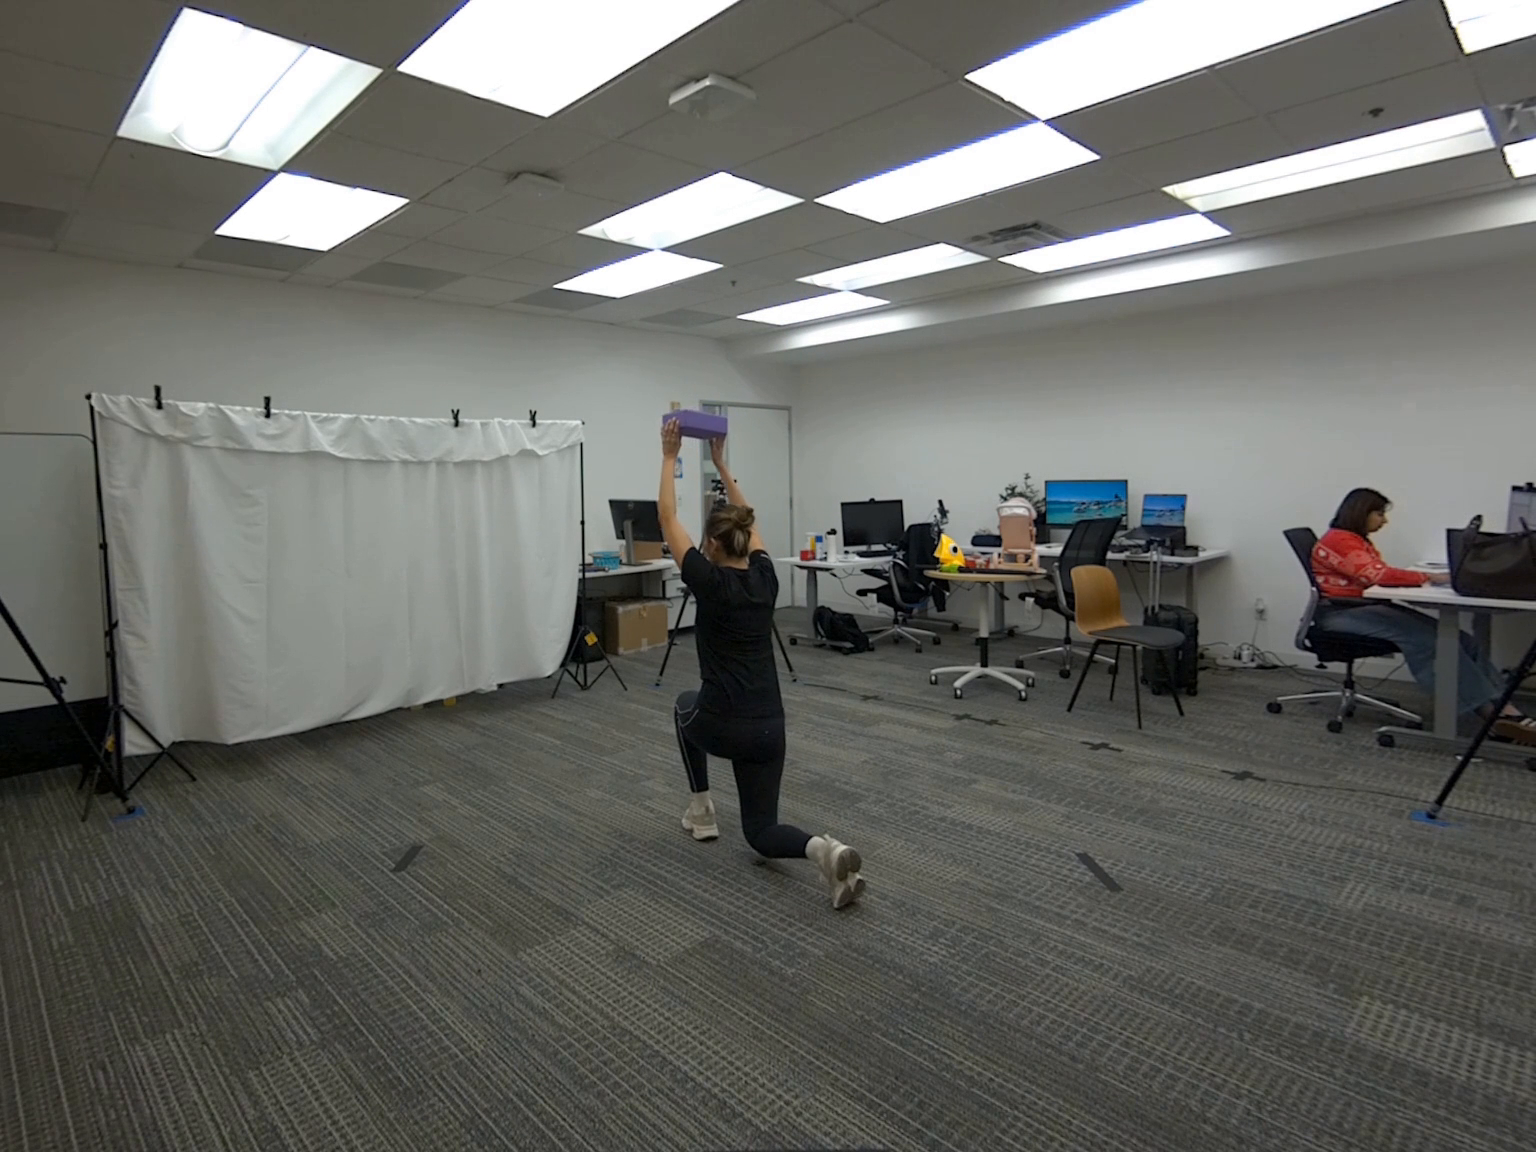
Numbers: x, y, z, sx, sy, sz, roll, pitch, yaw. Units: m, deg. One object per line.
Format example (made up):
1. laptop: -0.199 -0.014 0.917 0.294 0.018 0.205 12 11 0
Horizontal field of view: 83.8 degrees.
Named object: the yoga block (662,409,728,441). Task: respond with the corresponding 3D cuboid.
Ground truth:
1. yoga block: -0.298 -0.617 3.402 0.222 0.077 0.153 3 -5 -45
